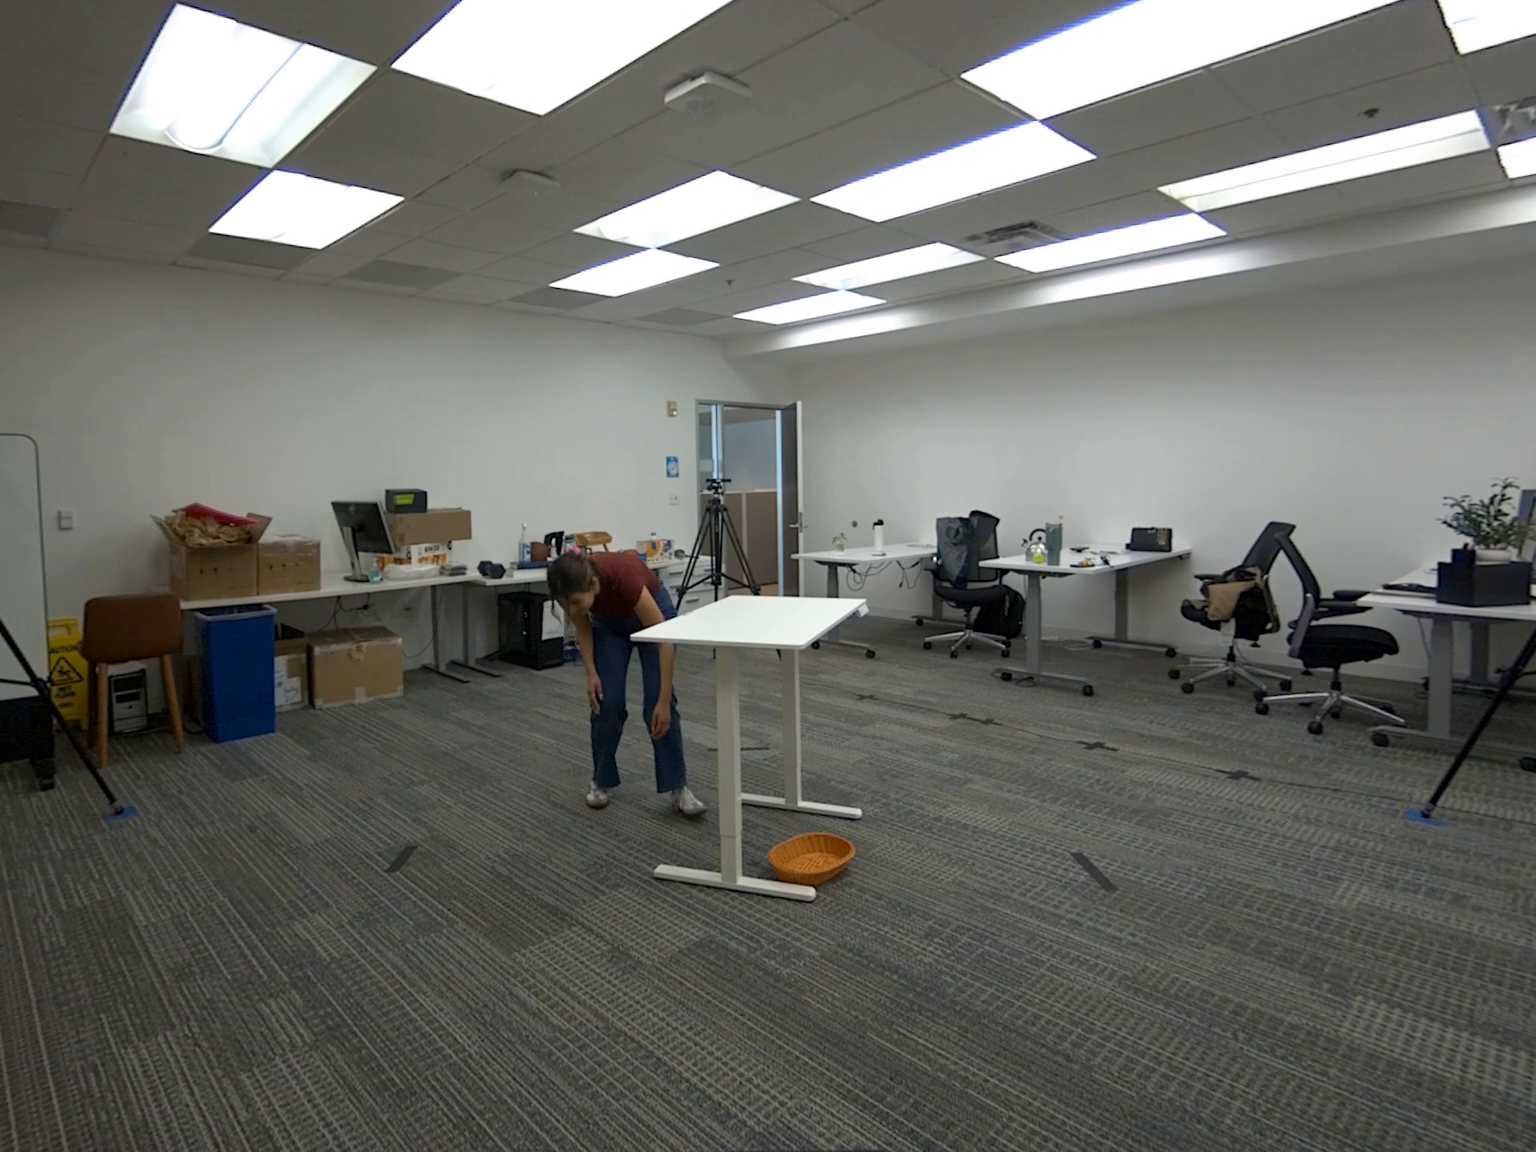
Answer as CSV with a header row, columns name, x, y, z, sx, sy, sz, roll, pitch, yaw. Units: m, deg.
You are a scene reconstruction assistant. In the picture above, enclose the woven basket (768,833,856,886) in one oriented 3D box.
name,x,y,z,sx,sy,sz,roll,pitch,yaw
woven basket,0.152,1.008,3.040,0.260,0.073,0.341,6,9,43
